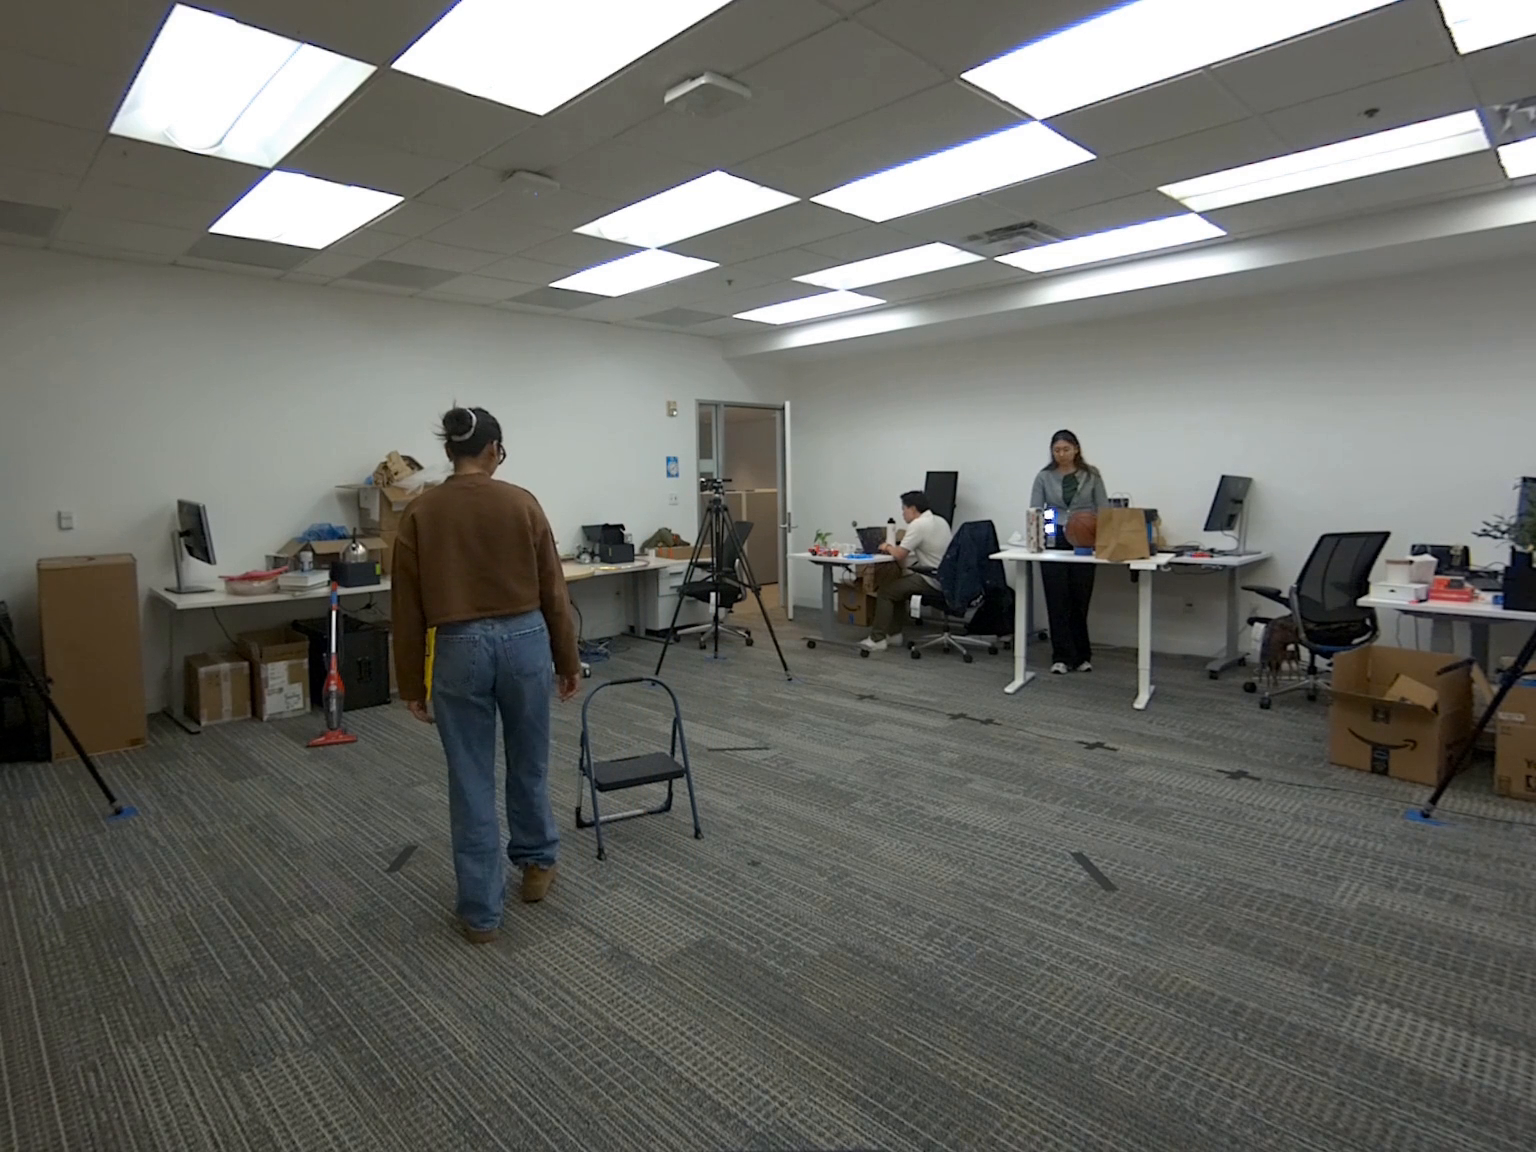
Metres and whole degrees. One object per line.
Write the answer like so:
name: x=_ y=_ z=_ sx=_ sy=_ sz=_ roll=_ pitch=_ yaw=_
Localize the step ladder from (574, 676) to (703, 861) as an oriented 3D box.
step ladder: x=-0.524 y=0.717 z=3.386 sx=0.421 sy=0.604 sz=0.358 roll=-3 pitch=4 yaw=-28
